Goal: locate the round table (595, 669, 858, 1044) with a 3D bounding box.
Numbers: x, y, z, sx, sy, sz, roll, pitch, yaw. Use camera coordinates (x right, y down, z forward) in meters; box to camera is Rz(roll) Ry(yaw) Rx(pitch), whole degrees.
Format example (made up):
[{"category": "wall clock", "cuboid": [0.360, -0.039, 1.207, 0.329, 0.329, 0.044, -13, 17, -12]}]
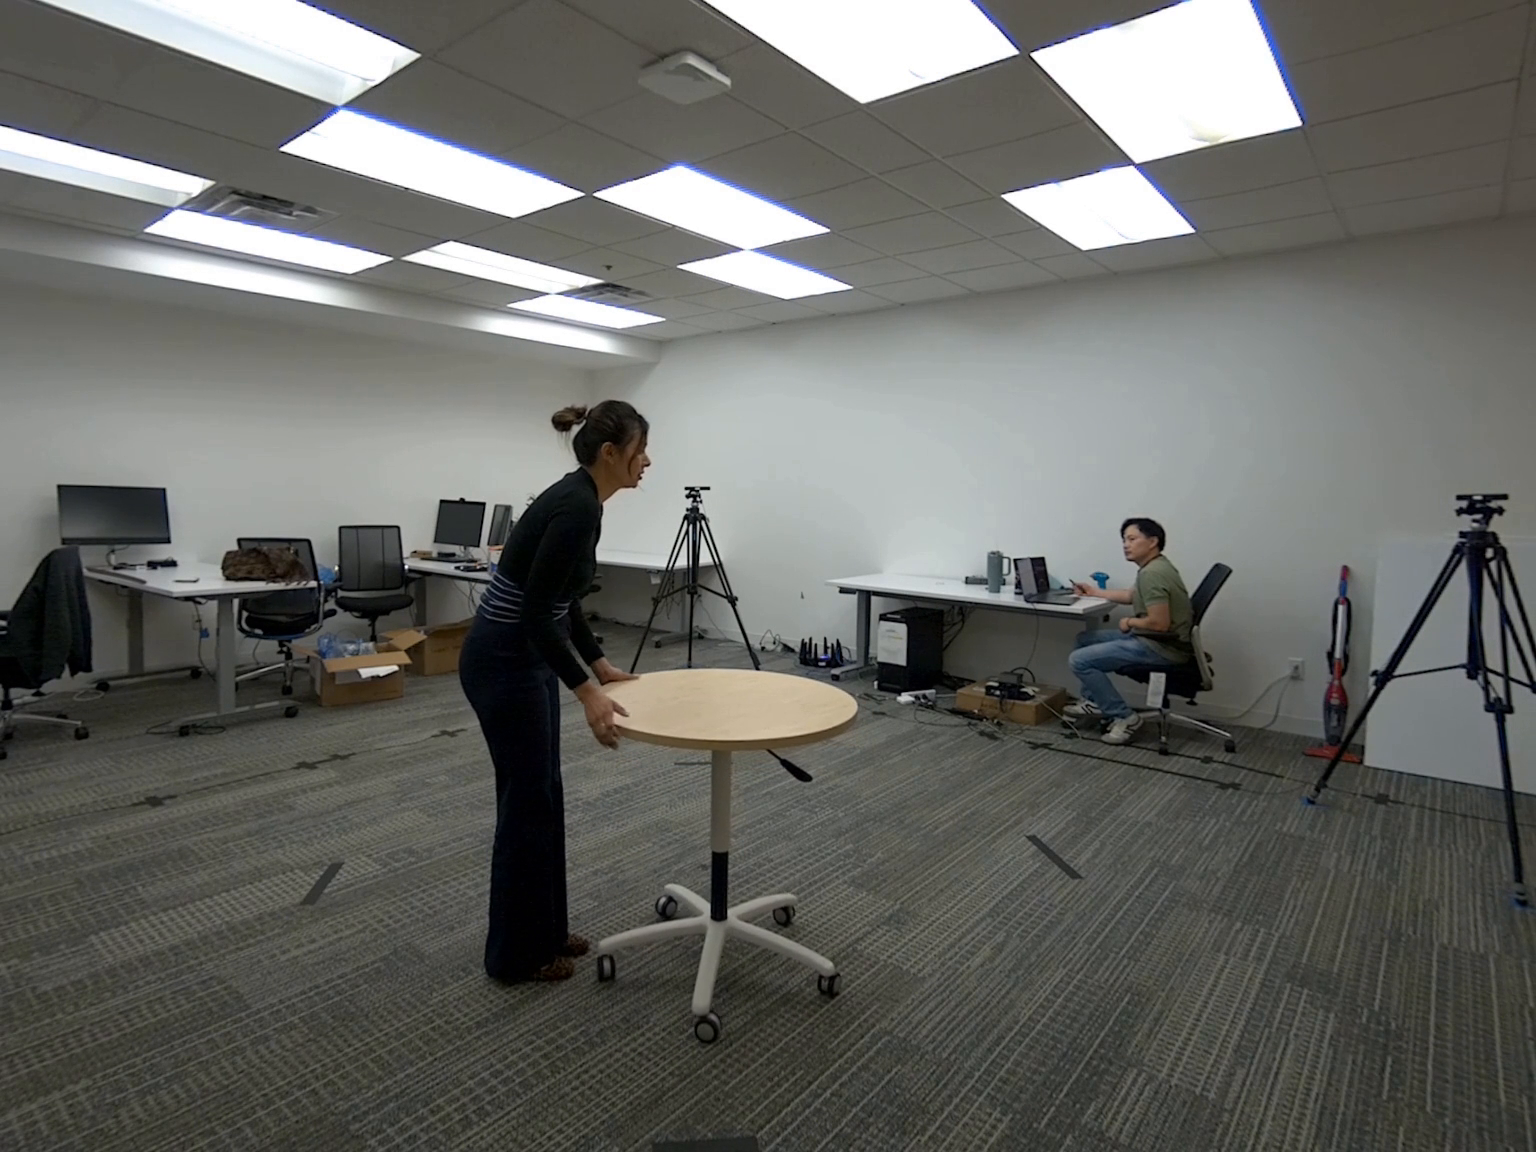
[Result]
[{"category": "round table", "cuboid": [-0.142, 0.745, 2.459, 0.763, 0.791, 0.768, 1, 5, -2]}]
